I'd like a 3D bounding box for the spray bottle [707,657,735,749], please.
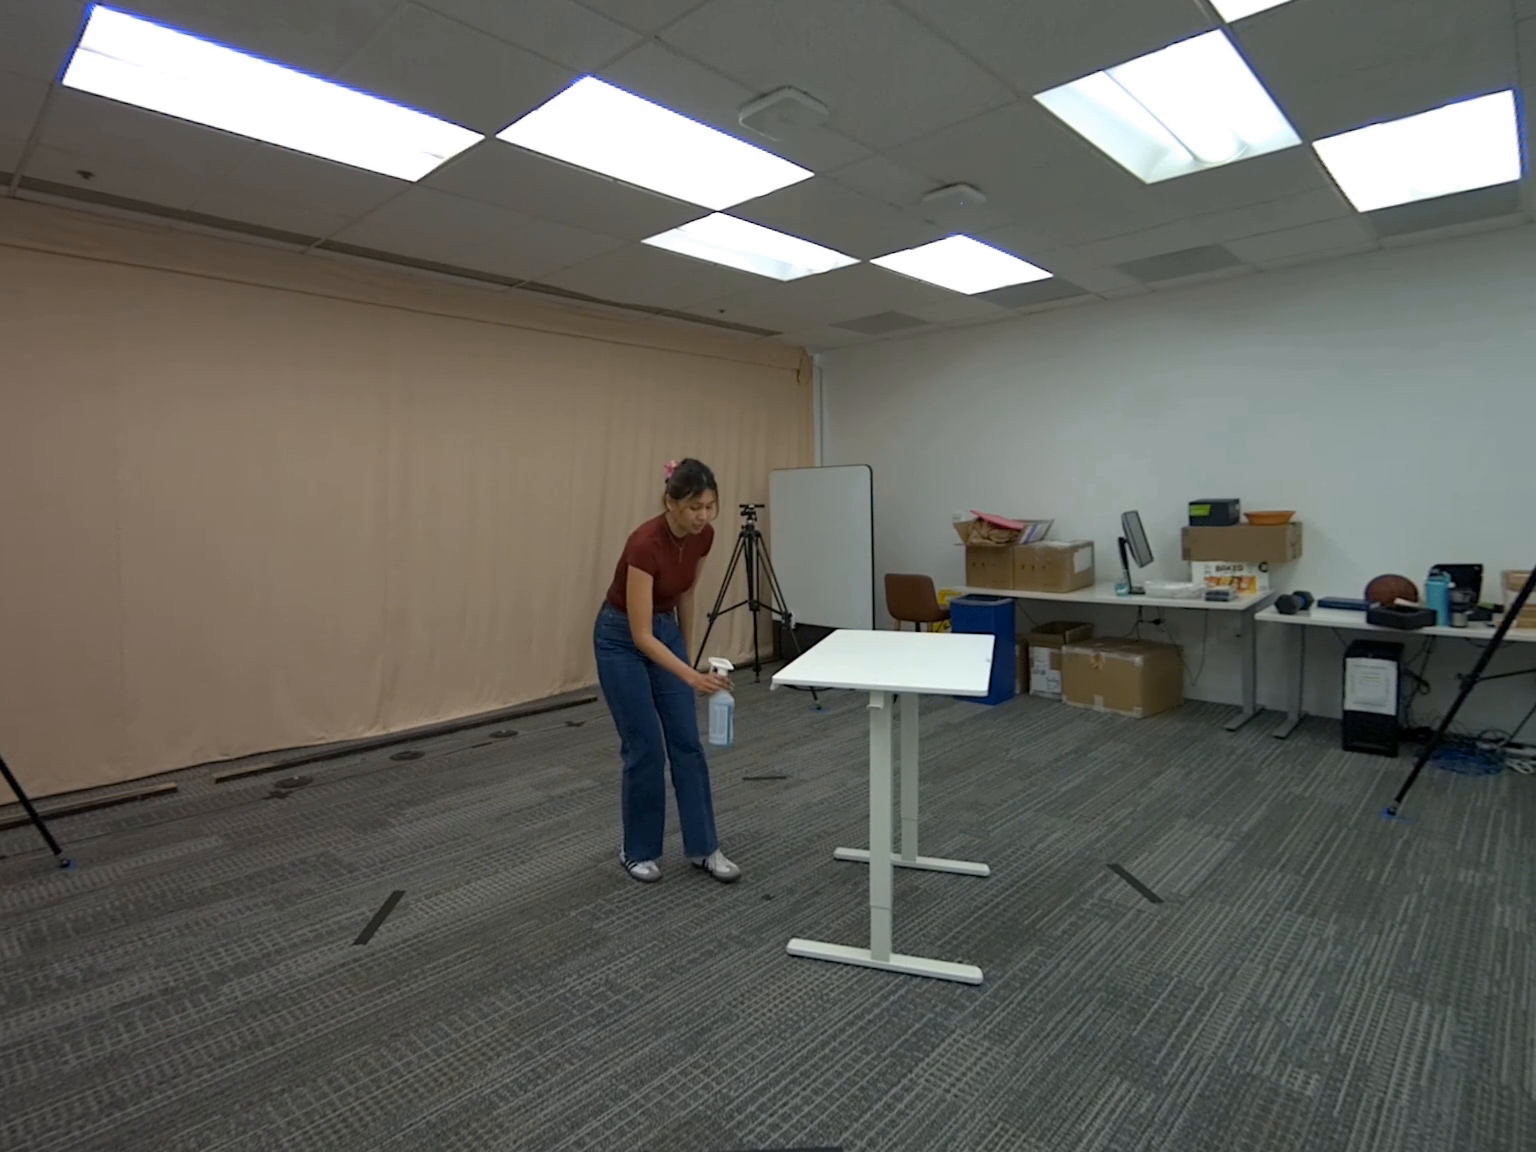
[{"bbox_3d":[-0.160,0.434,2.864,0.084,0.297,0.093,-1,2,-40],"label":"spray bottle"}]
